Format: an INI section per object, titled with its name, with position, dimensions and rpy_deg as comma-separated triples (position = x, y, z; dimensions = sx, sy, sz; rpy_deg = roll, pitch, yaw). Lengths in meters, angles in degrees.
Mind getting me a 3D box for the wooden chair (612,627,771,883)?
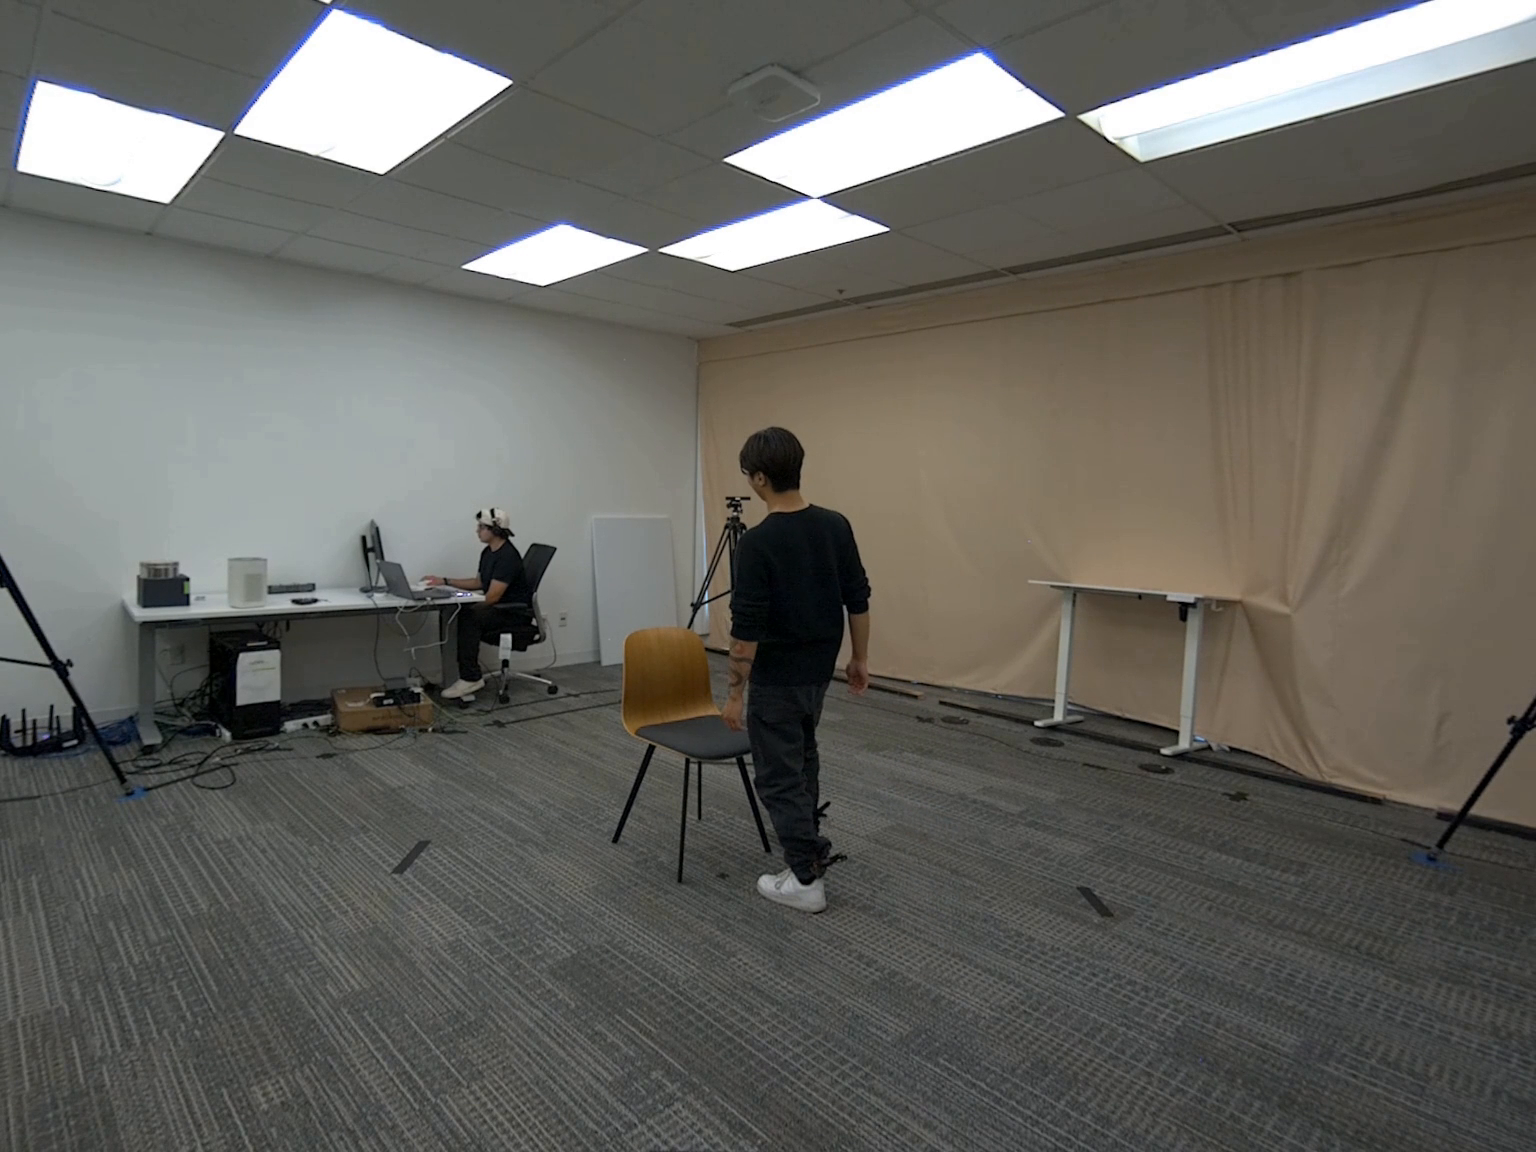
[wooden chair]
position = -0.299, 0.656, 3.314
dimensions = 0.467, 0.877, 0.535
rpy_deg = -1, 0, -42
